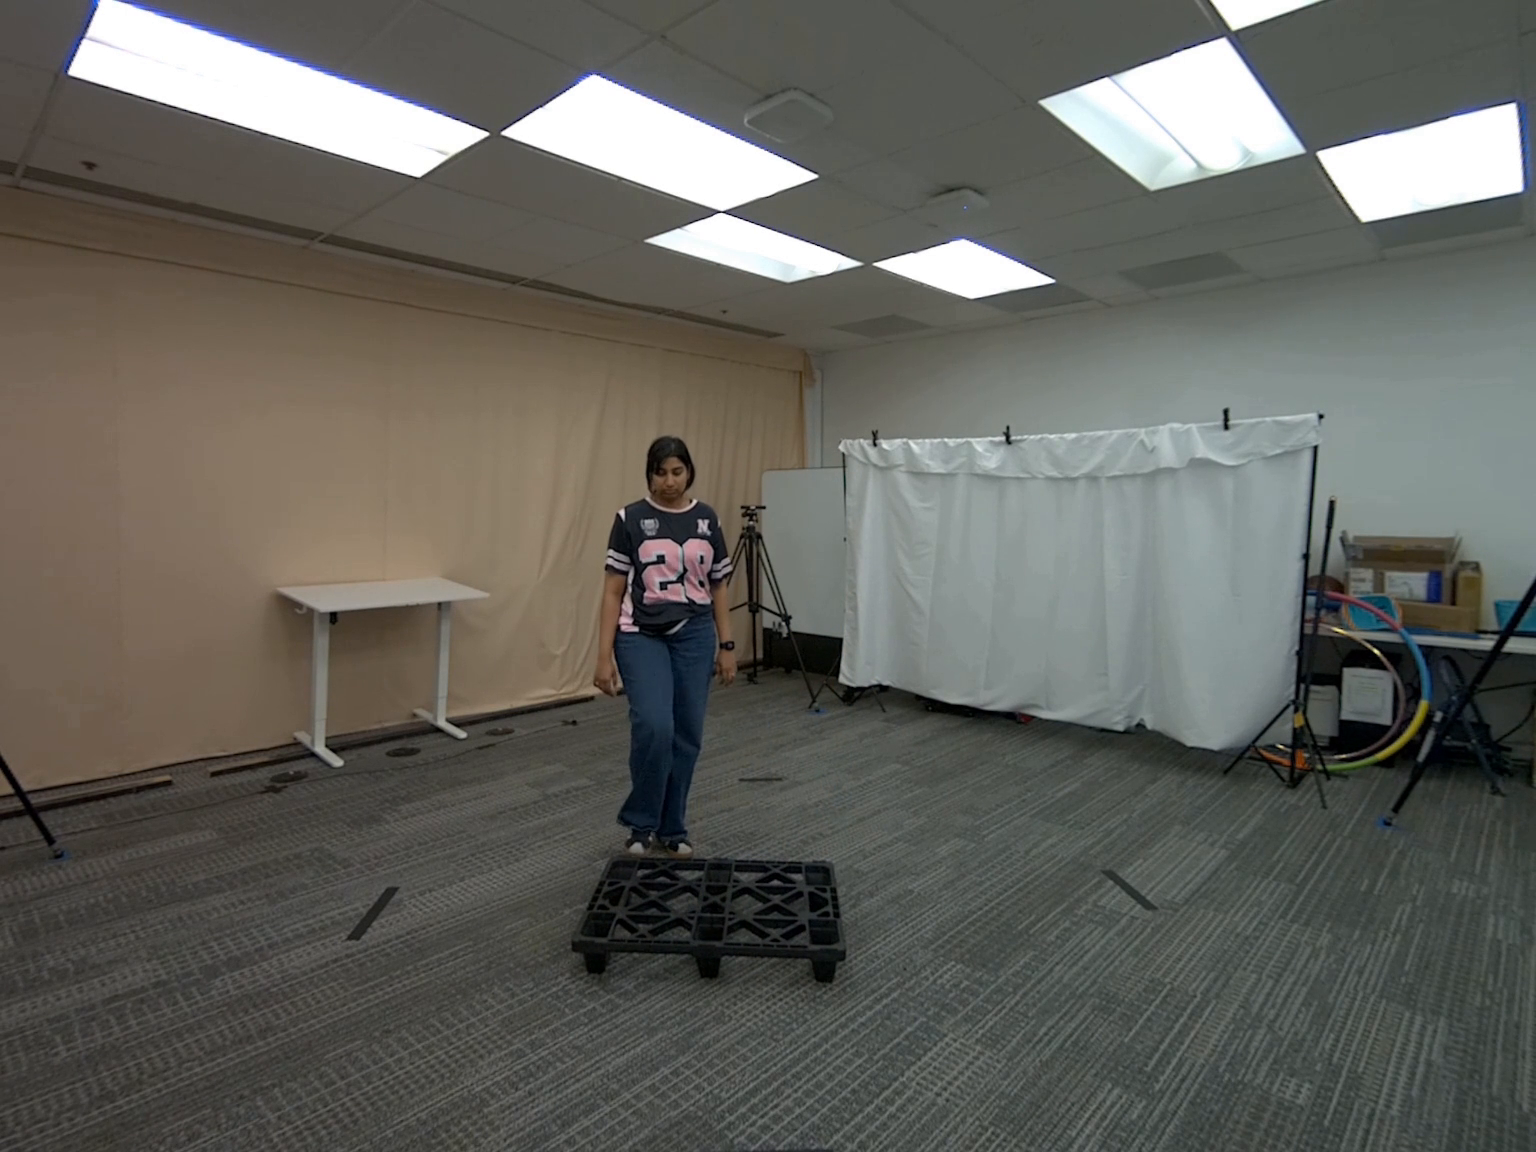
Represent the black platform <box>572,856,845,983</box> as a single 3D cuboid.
[{"bbox_3d":[-0.168,1.099,2.713,0.809,0.143,0.604,0,4,3],"label":"black platform"}]
